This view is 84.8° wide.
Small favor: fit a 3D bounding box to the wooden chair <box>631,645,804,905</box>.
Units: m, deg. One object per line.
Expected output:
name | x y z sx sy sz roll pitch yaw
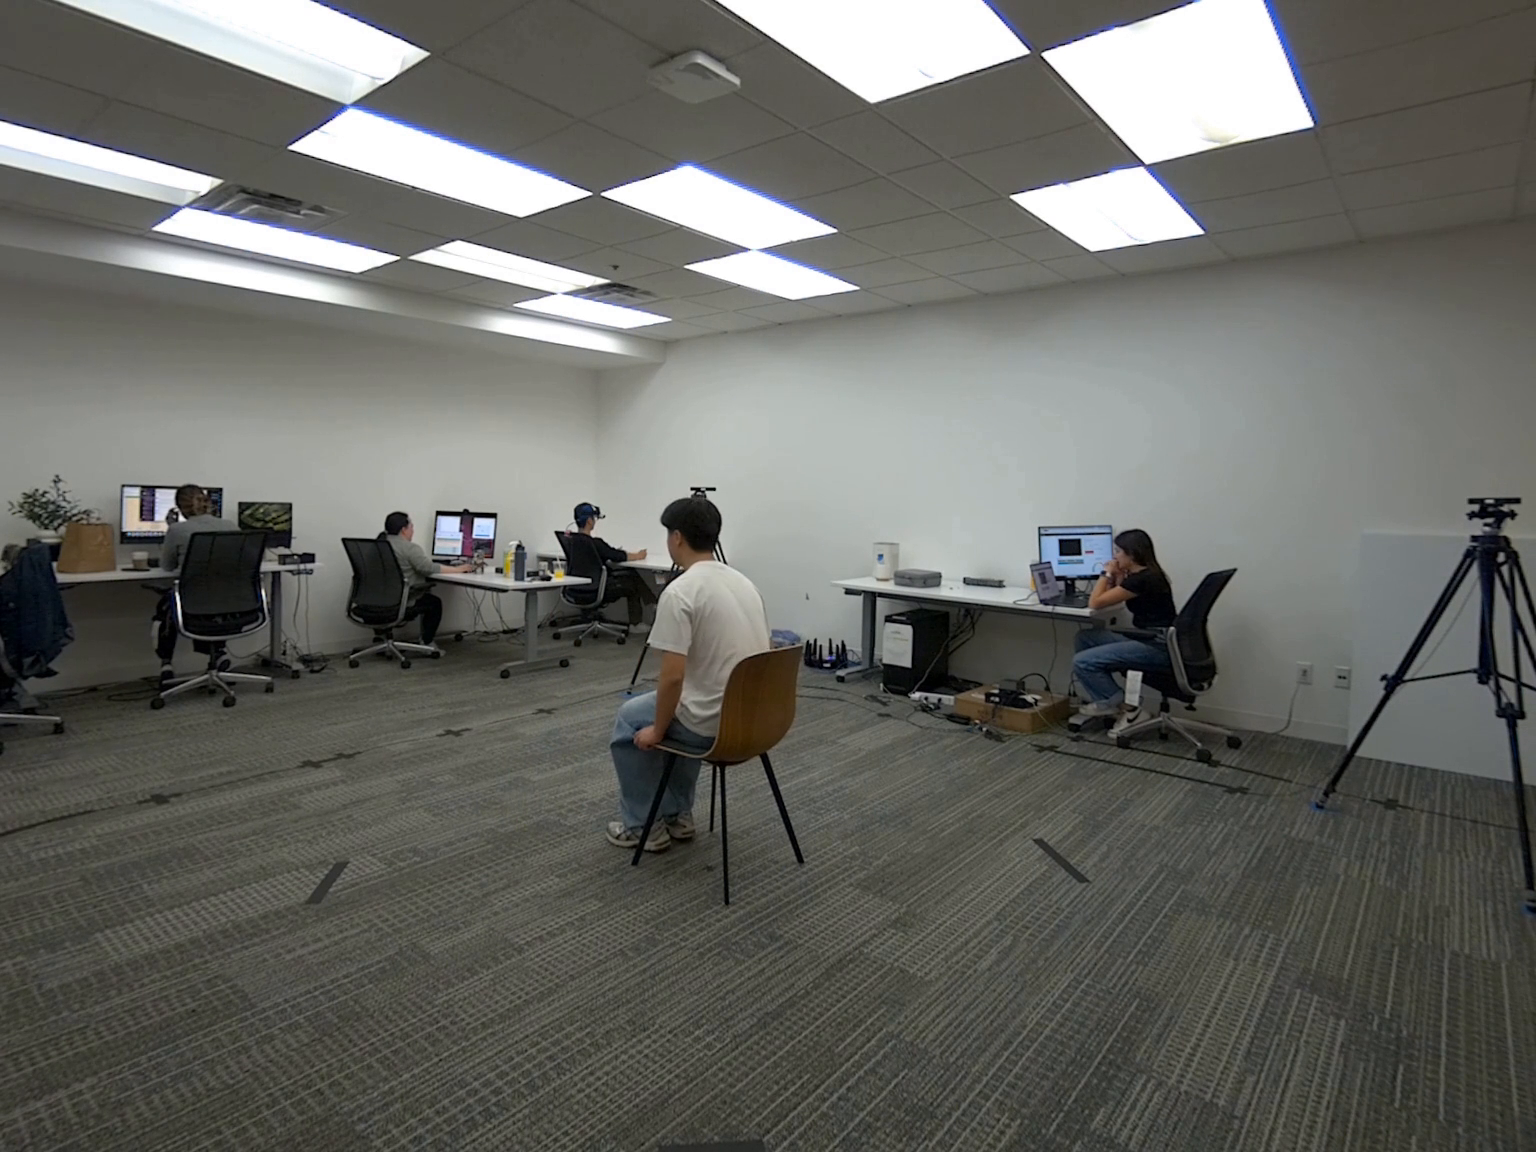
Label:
wooden chair | -0.187 0.638 3.121 0.542 0.873 0.464 9 7 38
